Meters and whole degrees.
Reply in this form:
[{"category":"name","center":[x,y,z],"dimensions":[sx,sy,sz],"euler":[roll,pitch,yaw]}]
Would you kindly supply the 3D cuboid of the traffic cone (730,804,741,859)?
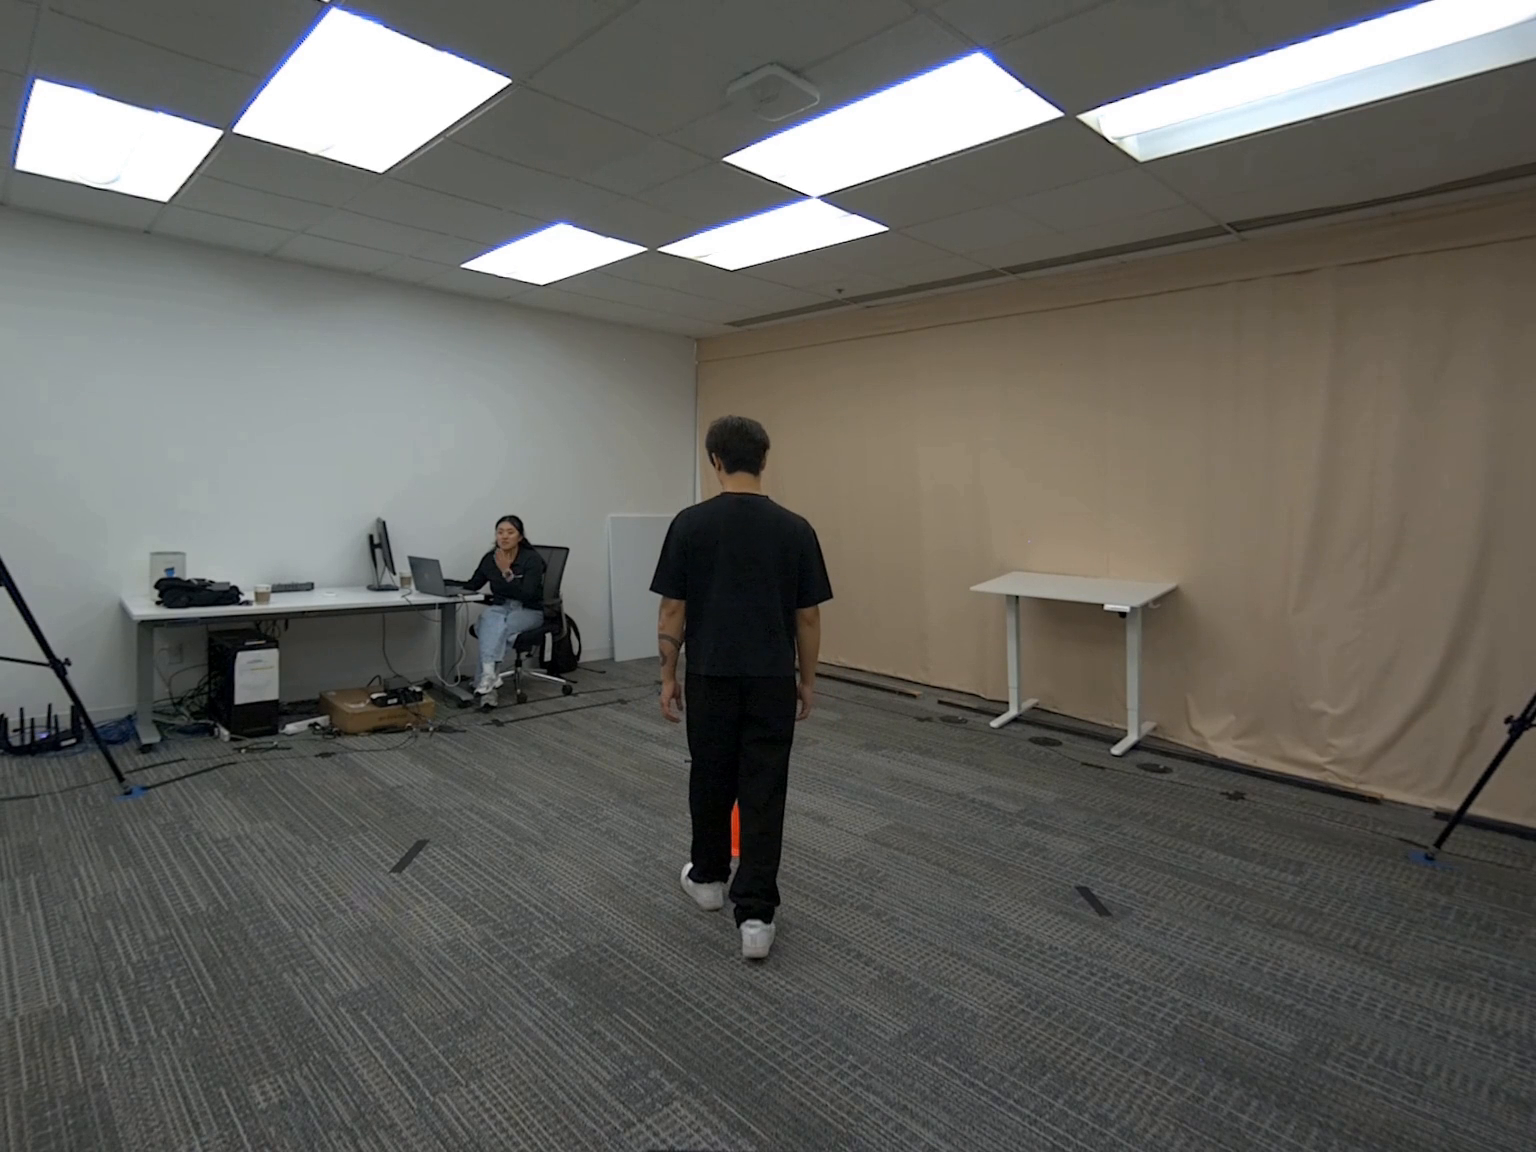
[{"category":"traffic cone","center":[-0.088,0.902,3.393],"dimensions":[0.200,0.383,0.208],"euler":[2,4,-30]}]
